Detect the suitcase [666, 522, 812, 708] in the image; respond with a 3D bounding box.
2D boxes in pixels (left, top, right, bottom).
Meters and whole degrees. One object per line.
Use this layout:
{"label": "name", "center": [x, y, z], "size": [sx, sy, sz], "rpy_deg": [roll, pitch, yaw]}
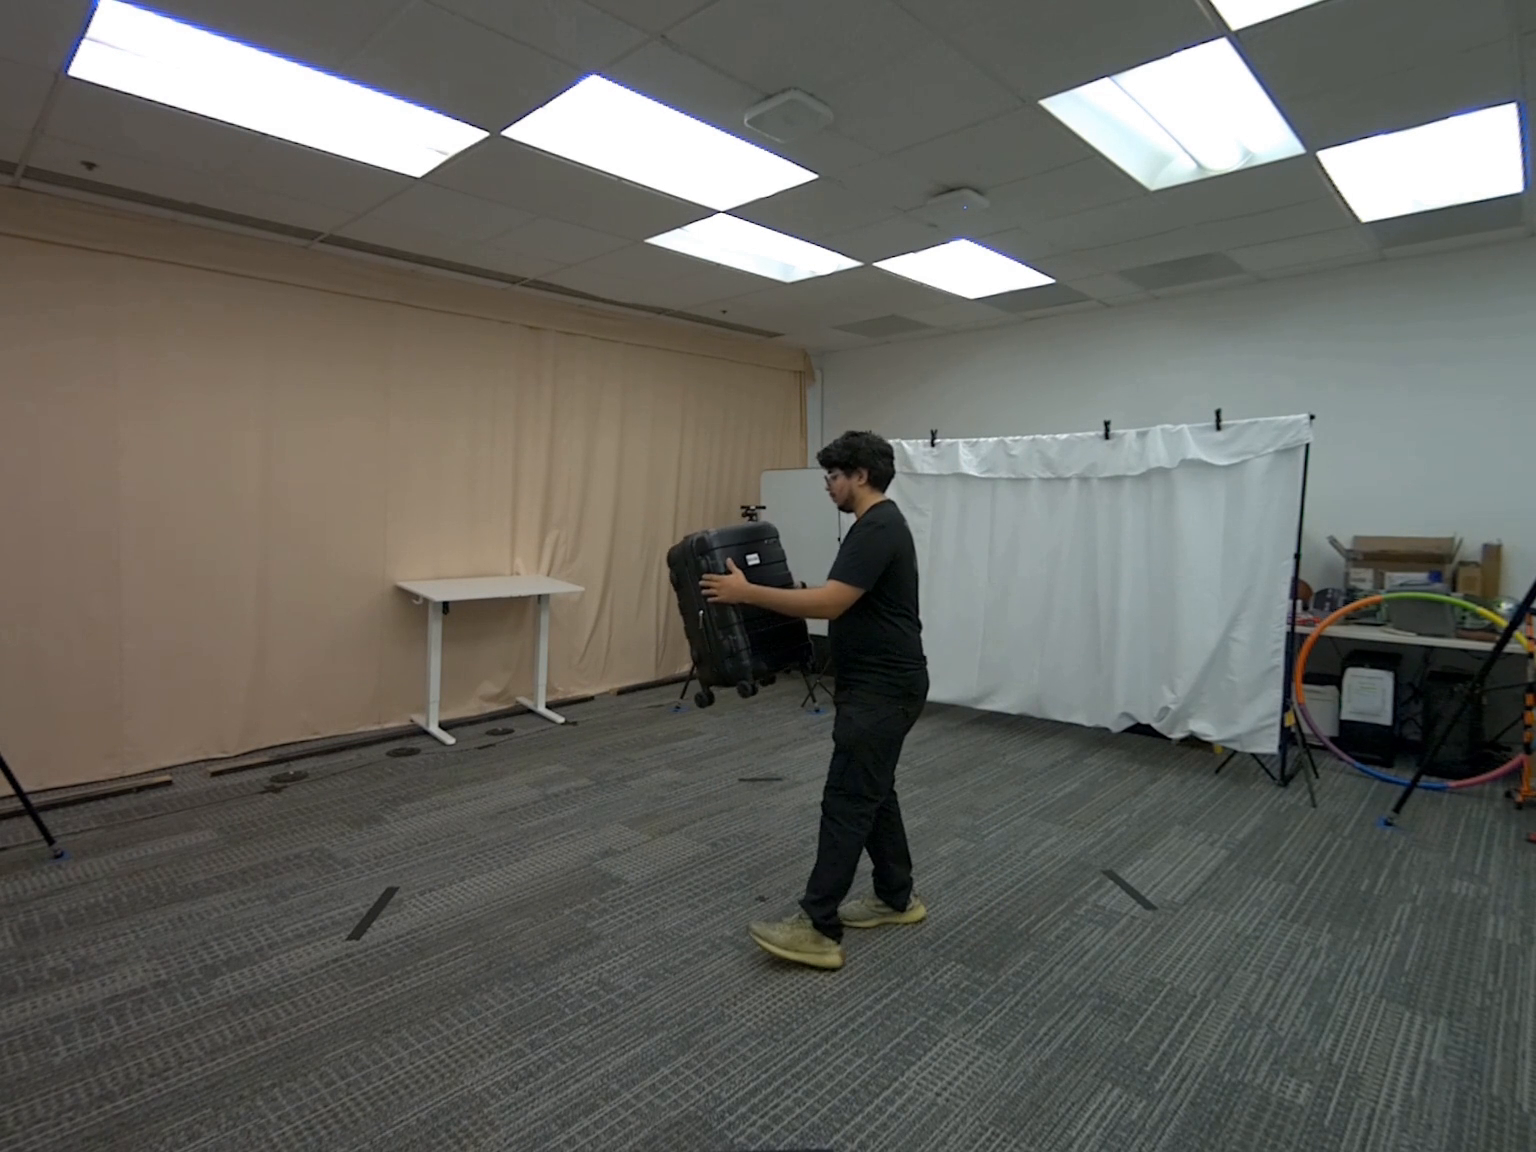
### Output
{"label": "suitcase", "center": [-0.088, 0.105, 2.761], "size": [0.365, 0.553, 0.254], "rpy_deg": [-10, -8, -41]}
